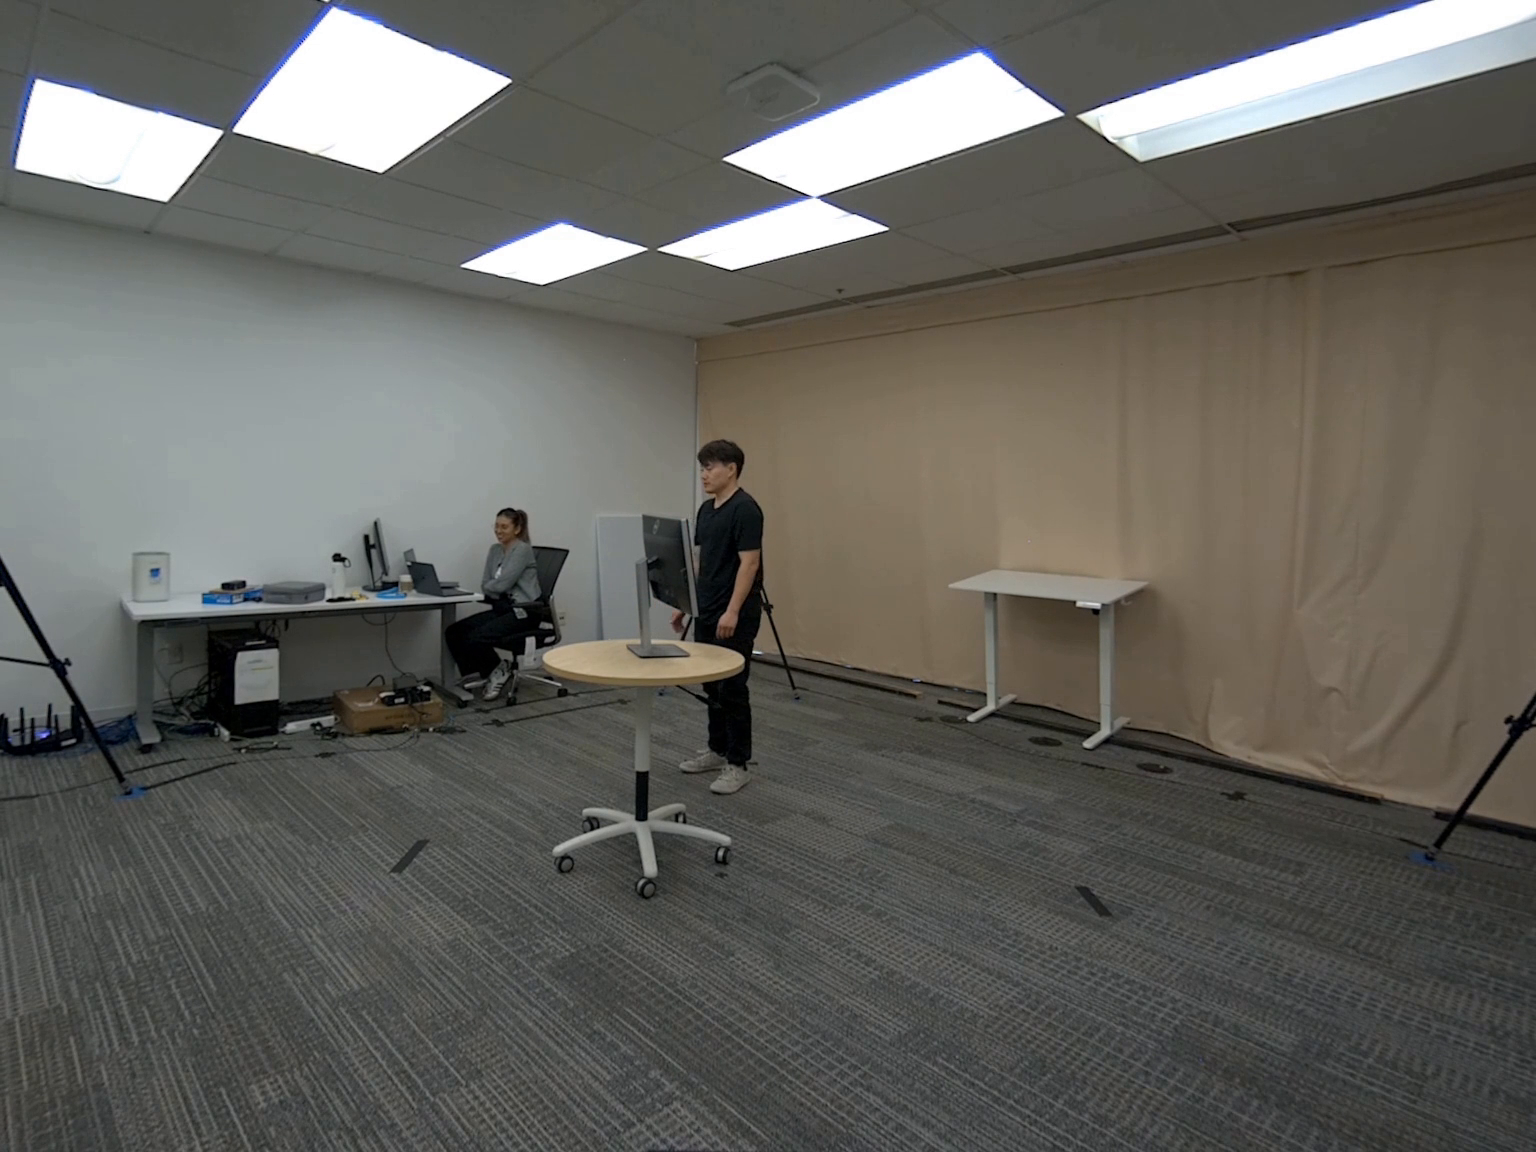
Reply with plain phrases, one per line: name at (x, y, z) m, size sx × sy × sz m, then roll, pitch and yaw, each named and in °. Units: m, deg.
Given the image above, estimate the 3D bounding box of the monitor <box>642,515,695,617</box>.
monitor at (-0.440, 0.037, 3.306) m, size 0.184 × 0.521 × 0.550 m, roll 2°, pitch 4°, yaw -23°
